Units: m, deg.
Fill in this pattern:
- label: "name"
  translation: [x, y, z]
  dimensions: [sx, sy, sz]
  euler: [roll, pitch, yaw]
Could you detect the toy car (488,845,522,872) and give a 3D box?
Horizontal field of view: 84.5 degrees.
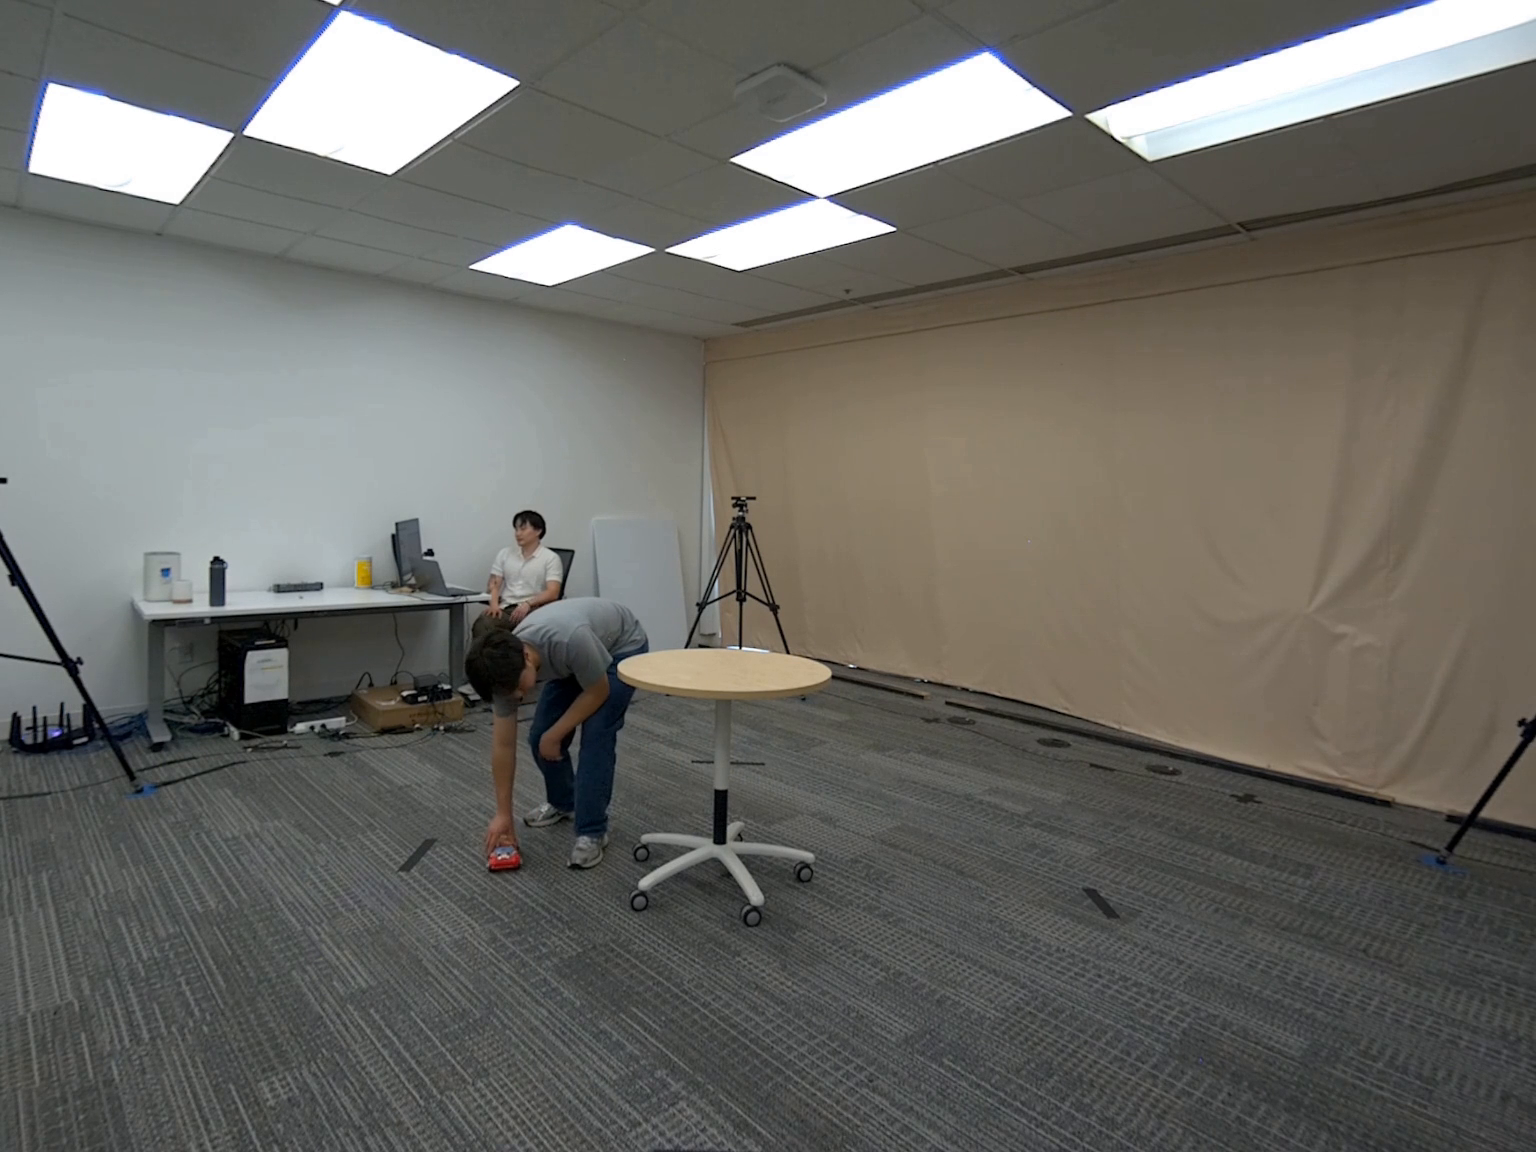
- label: "toy car"
  translation: [-1.013, 1.048, 3.189]
  dimensions: [0.128, 0.082, 0.261]
  euler: [-2, 16, -20]
